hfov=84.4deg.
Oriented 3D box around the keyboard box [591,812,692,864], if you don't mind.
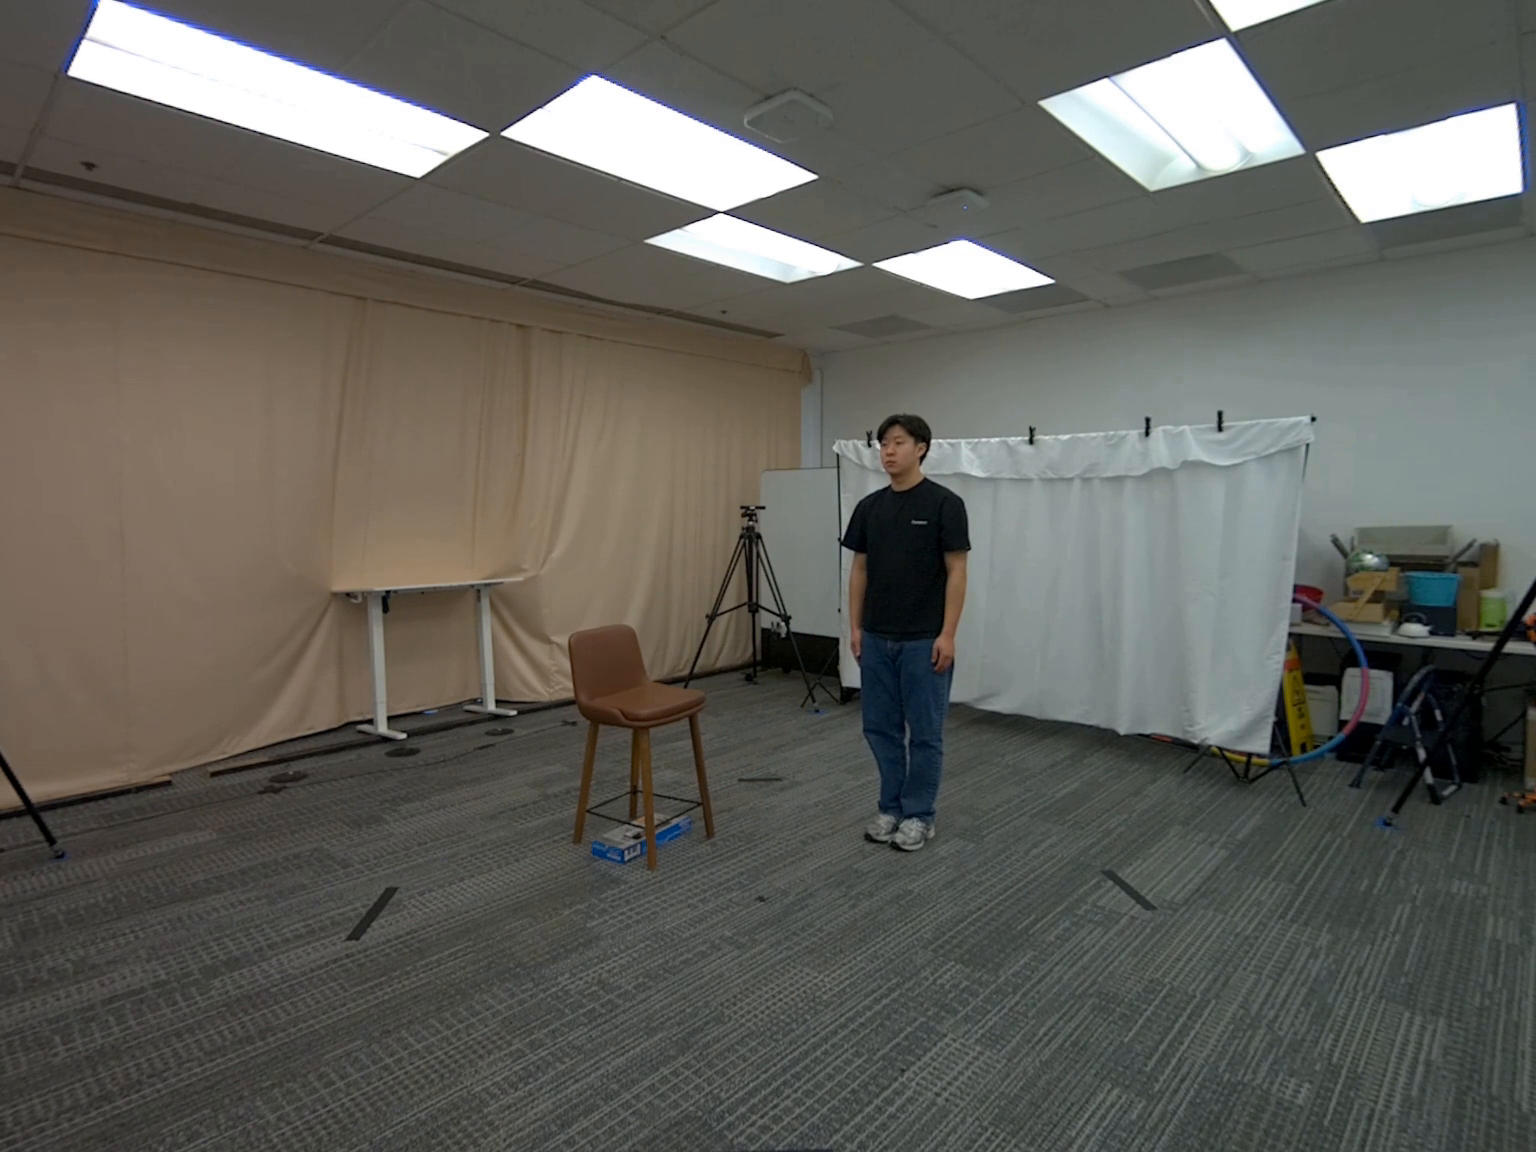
[{"bbox_3d":[-0.521,1.080,3.509,0.181,0.059,0.424,2,5,34],"label":"keyboard box"}]
